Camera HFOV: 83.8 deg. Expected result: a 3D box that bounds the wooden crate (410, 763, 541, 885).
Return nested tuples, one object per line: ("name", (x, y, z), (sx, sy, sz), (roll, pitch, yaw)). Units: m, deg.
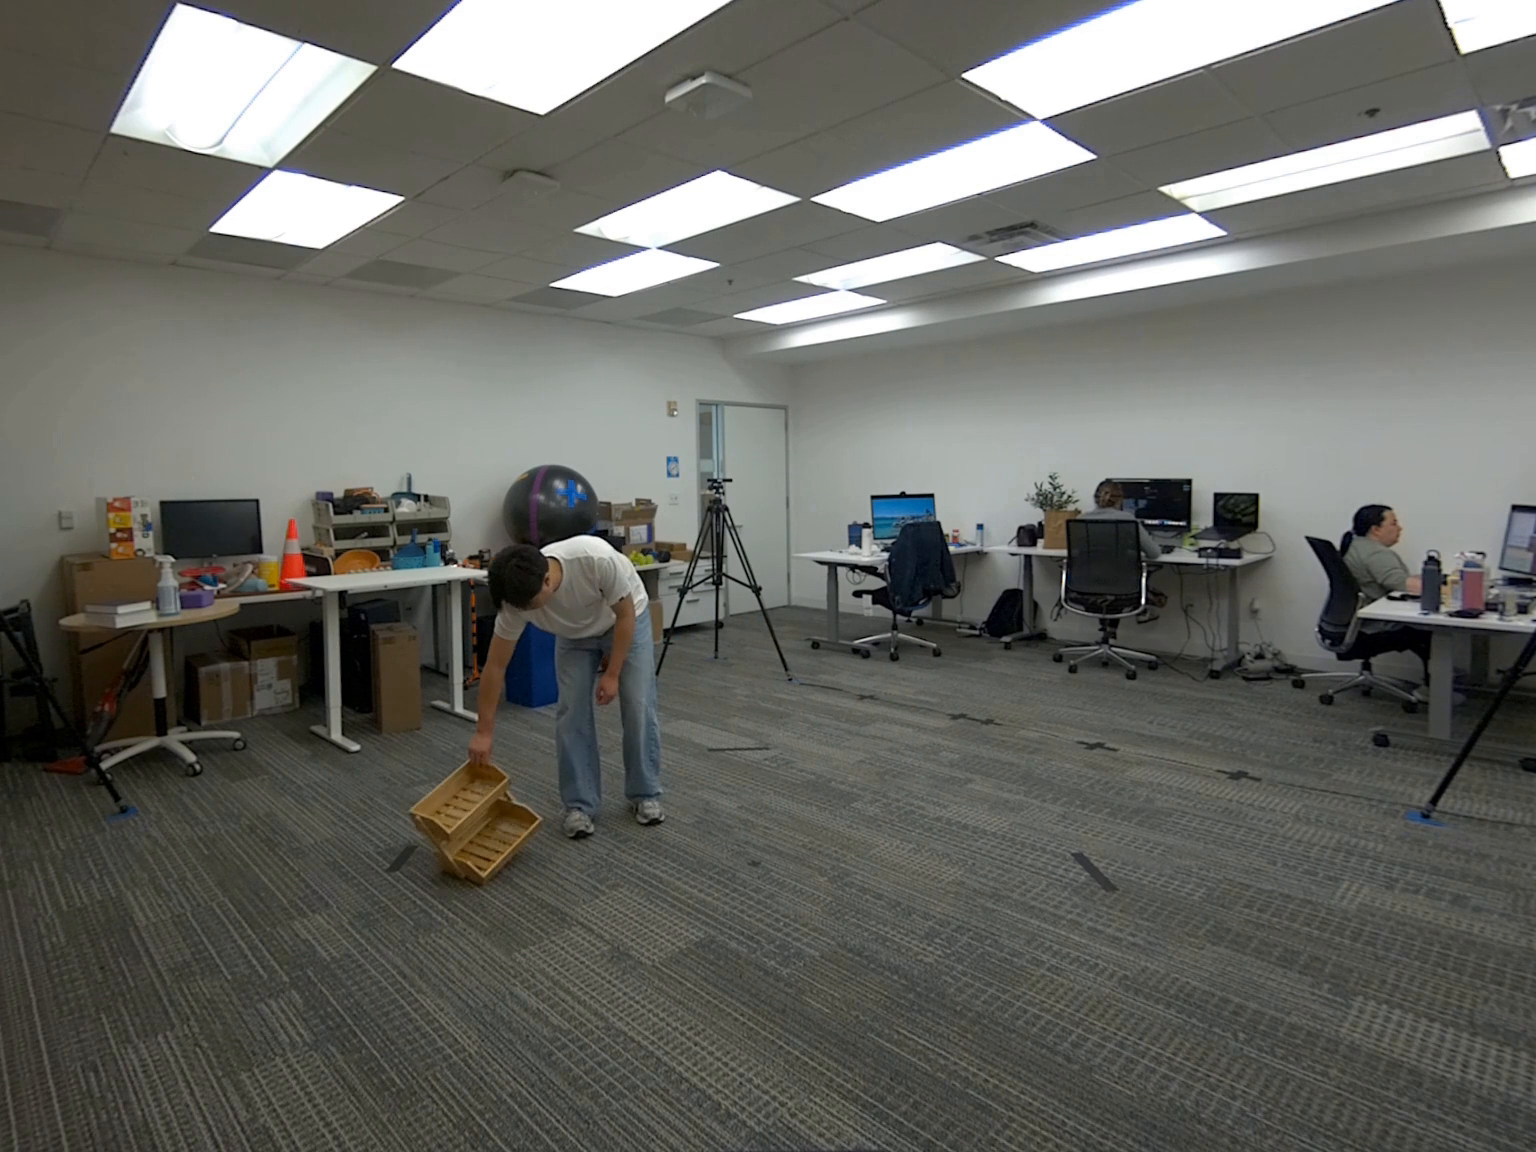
("wooden crate", (-1.044, 0.883, 3.115), (0.310, 0.267, 0.323), (2, 28, 34))
